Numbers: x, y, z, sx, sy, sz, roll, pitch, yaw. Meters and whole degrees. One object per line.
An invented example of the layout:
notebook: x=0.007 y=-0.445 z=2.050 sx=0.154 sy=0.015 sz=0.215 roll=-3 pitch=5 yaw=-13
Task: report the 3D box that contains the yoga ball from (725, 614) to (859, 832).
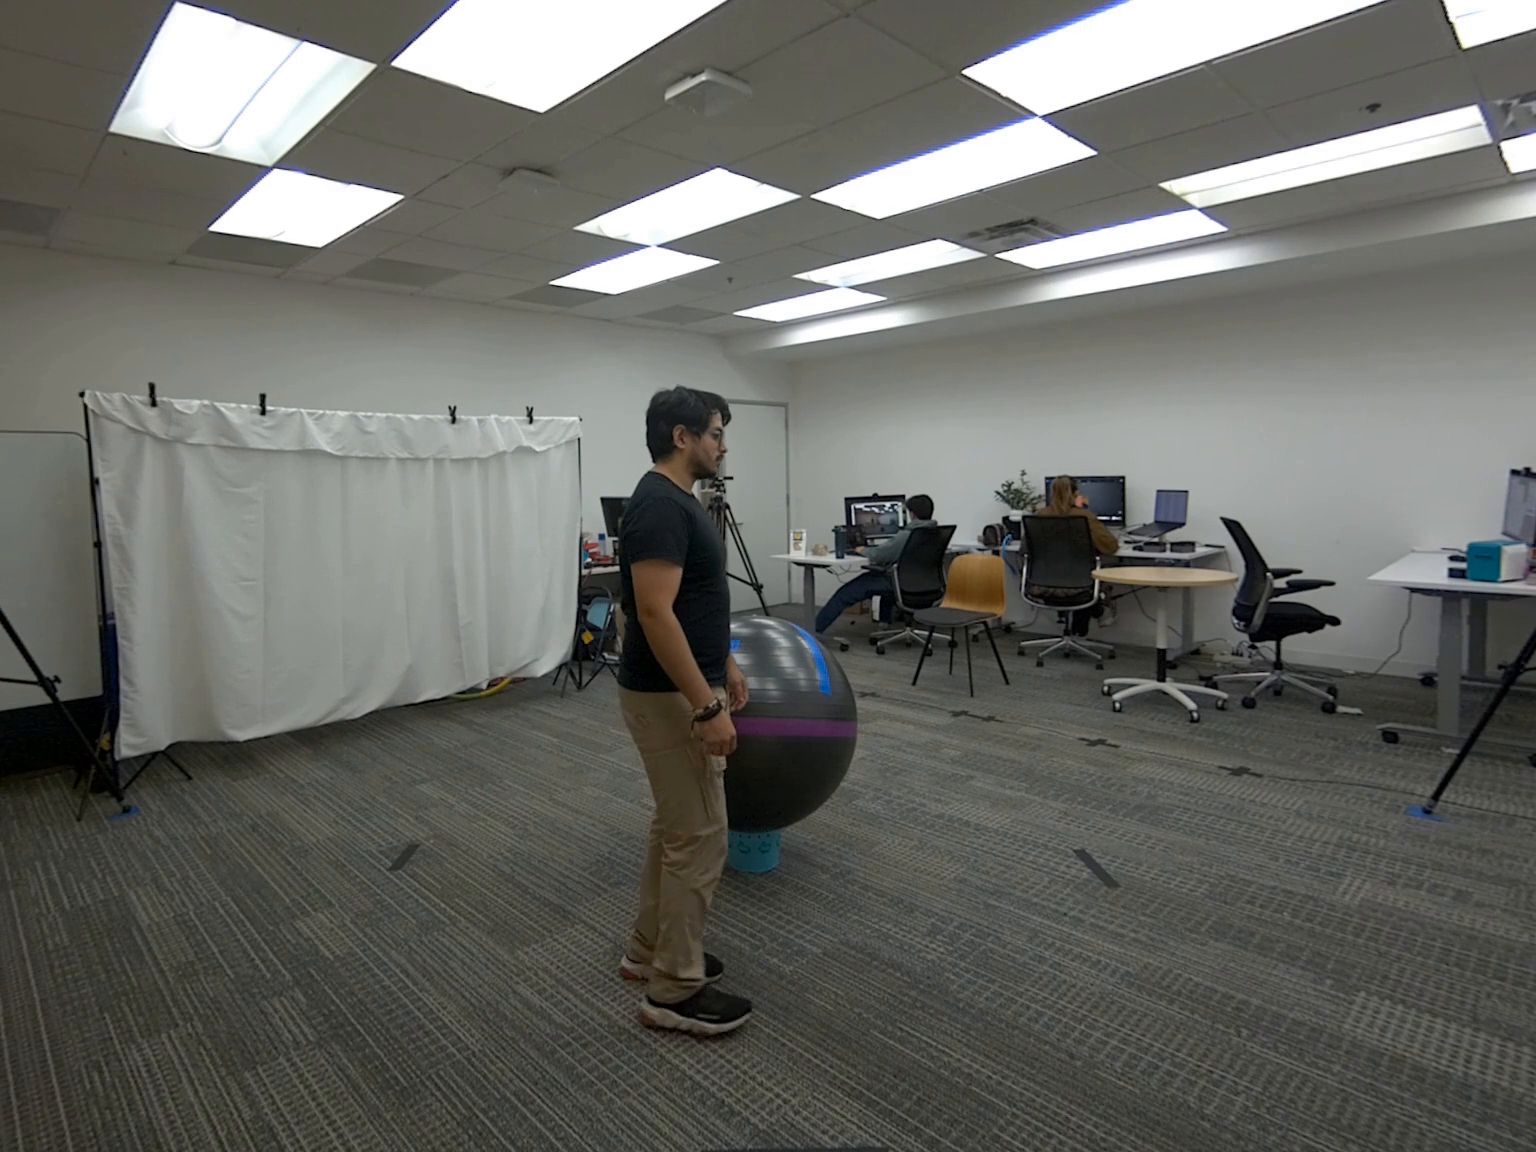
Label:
yoga ball: x=-0.054 y=0.529 z=3.096 sx=0.757 sy=0.755 sz=0.762 roll=-1 pitch=5 yaw=-2
